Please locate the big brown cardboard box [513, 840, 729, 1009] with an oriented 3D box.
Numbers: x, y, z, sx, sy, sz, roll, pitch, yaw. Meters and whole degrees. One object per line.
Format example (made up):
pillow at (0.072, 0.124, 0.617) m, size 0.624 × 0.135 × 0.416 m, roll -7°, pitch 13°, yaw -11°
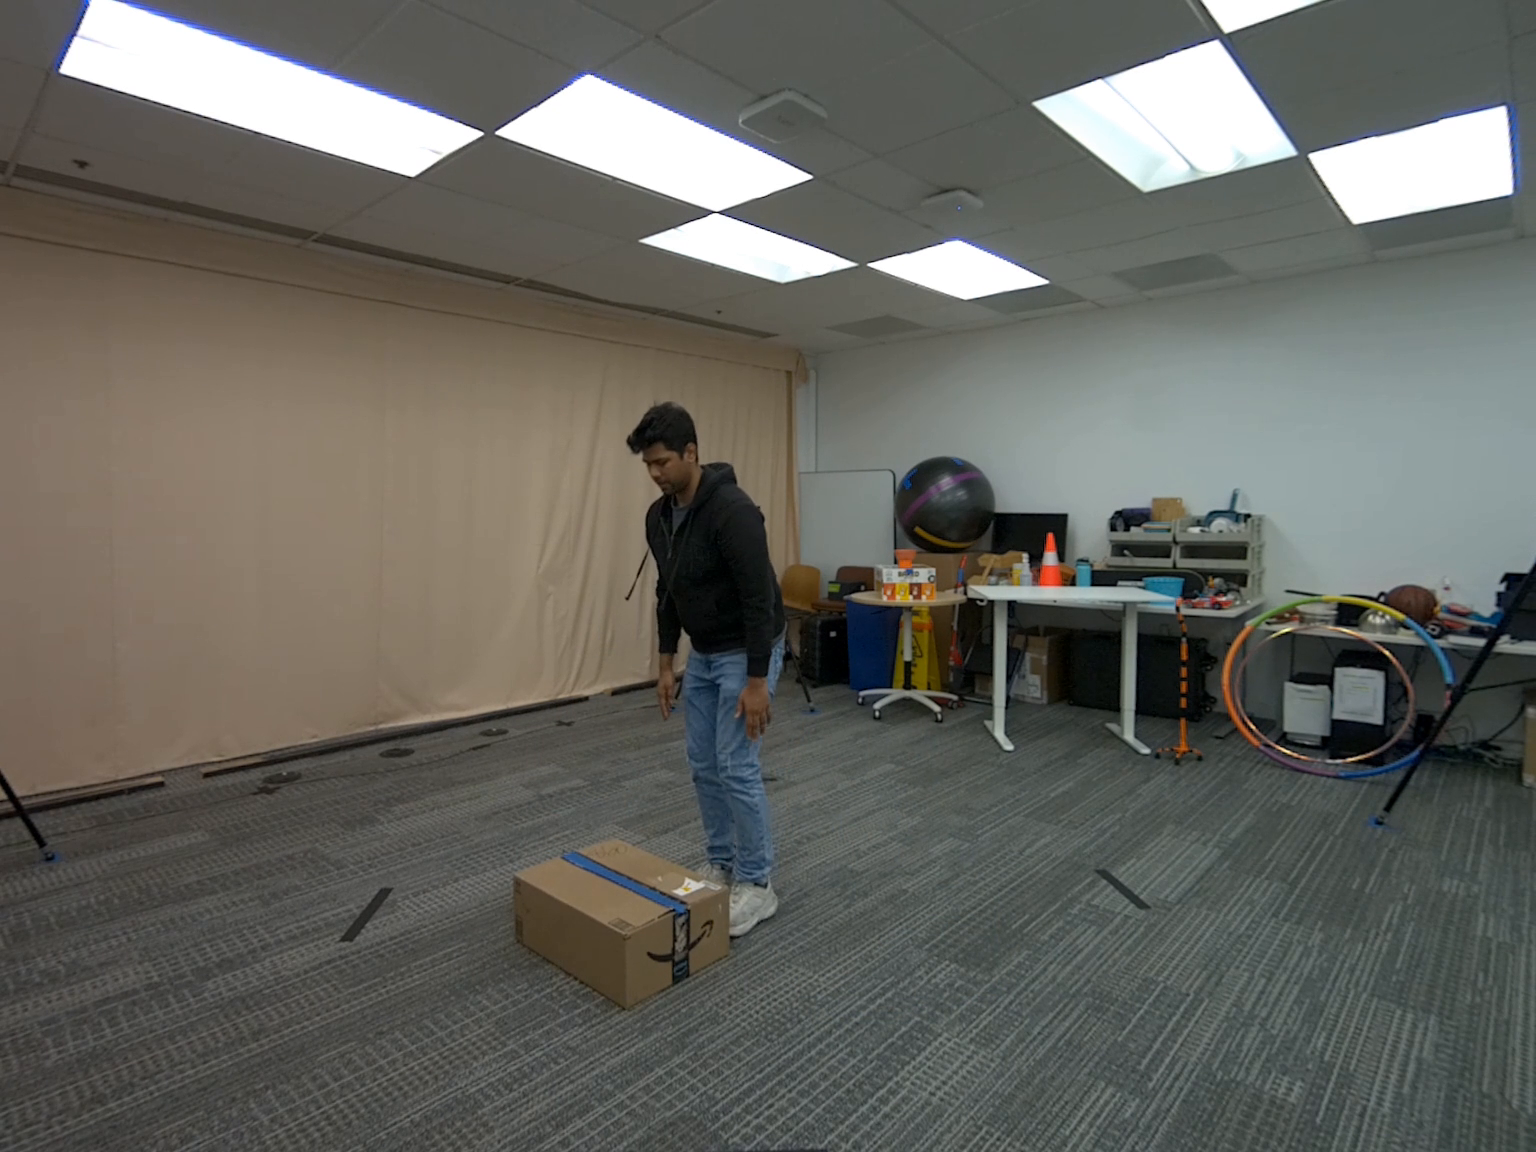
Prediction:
big brown cardboard box at (-0.462, 1.061, 2.656) m, size 0.608 × 0.232 × 0.405 m, roll 3°, pitch 6°, yaw 43°
